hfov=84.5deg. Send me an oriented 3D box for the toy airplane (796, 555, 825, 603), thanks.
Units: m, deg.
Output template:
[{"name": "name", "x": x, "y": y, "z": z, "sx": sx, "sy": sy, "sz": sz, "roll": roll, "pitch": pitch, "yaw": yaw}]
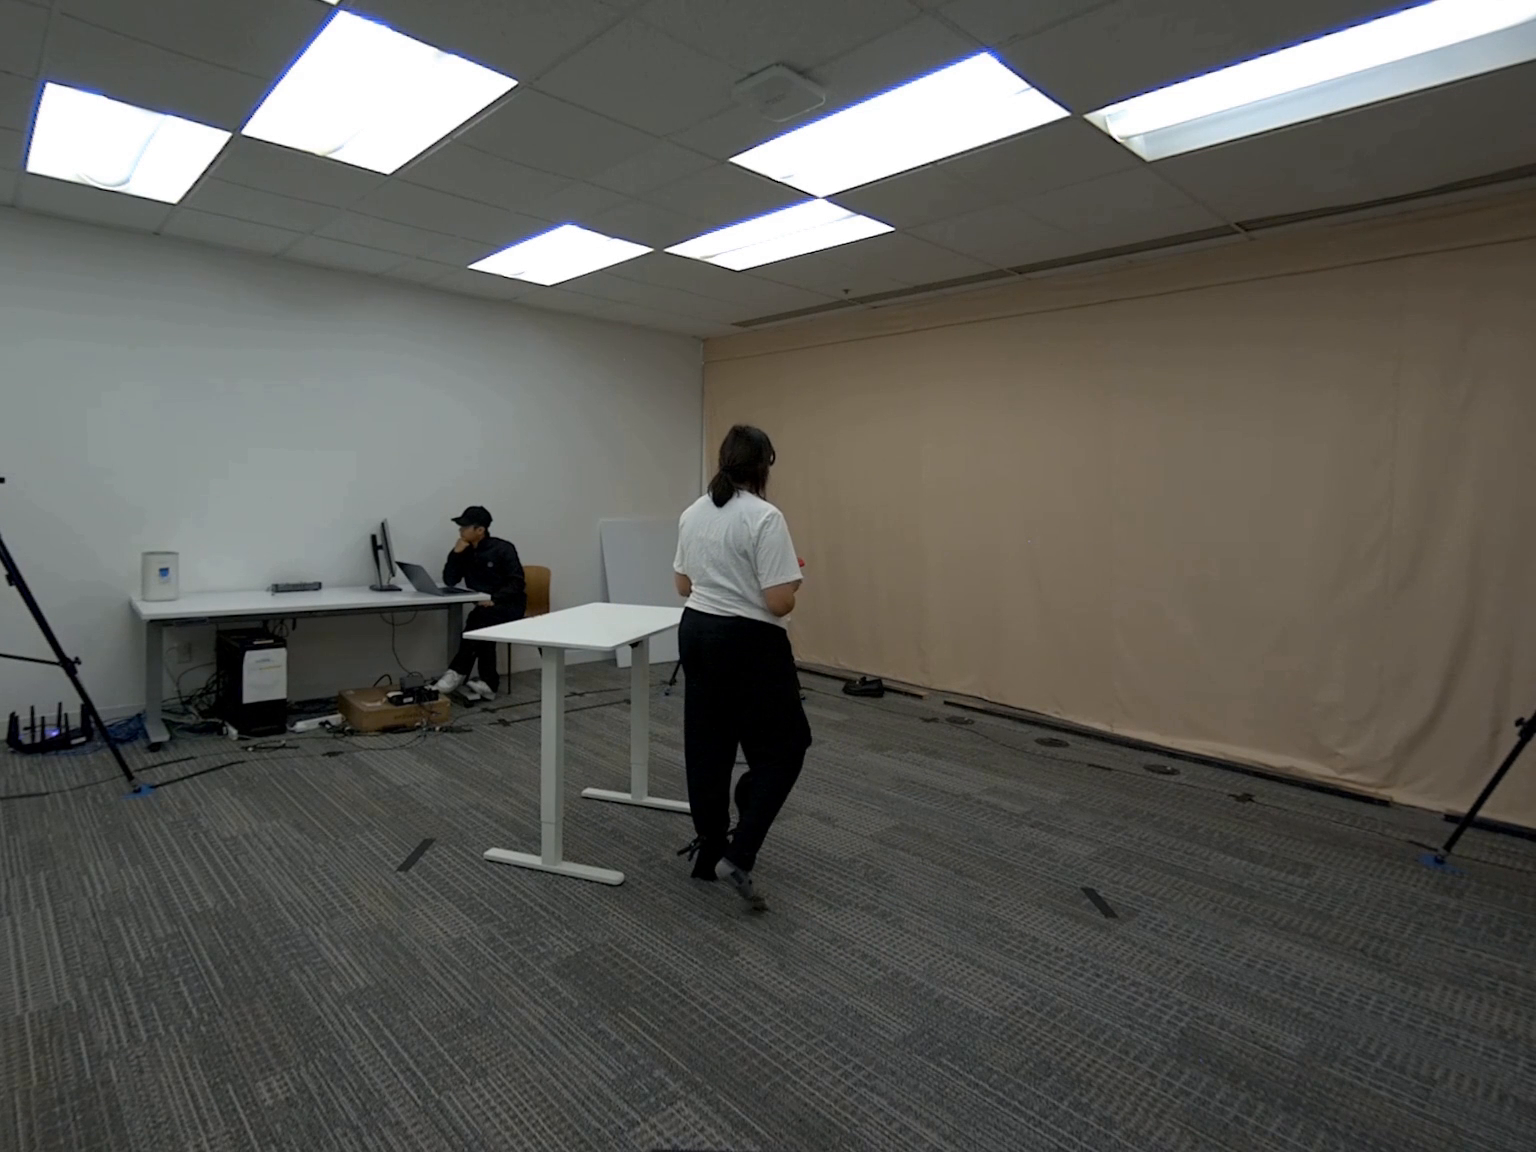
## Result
[{"name": "toy airplane", "x": 0.033, "y": 0.004, "z": 3.324, "sx": 0.245, "sy": 0.155, "sz": 0.266, "roll": -5, "pitch": 12, "yaw": -44}]
